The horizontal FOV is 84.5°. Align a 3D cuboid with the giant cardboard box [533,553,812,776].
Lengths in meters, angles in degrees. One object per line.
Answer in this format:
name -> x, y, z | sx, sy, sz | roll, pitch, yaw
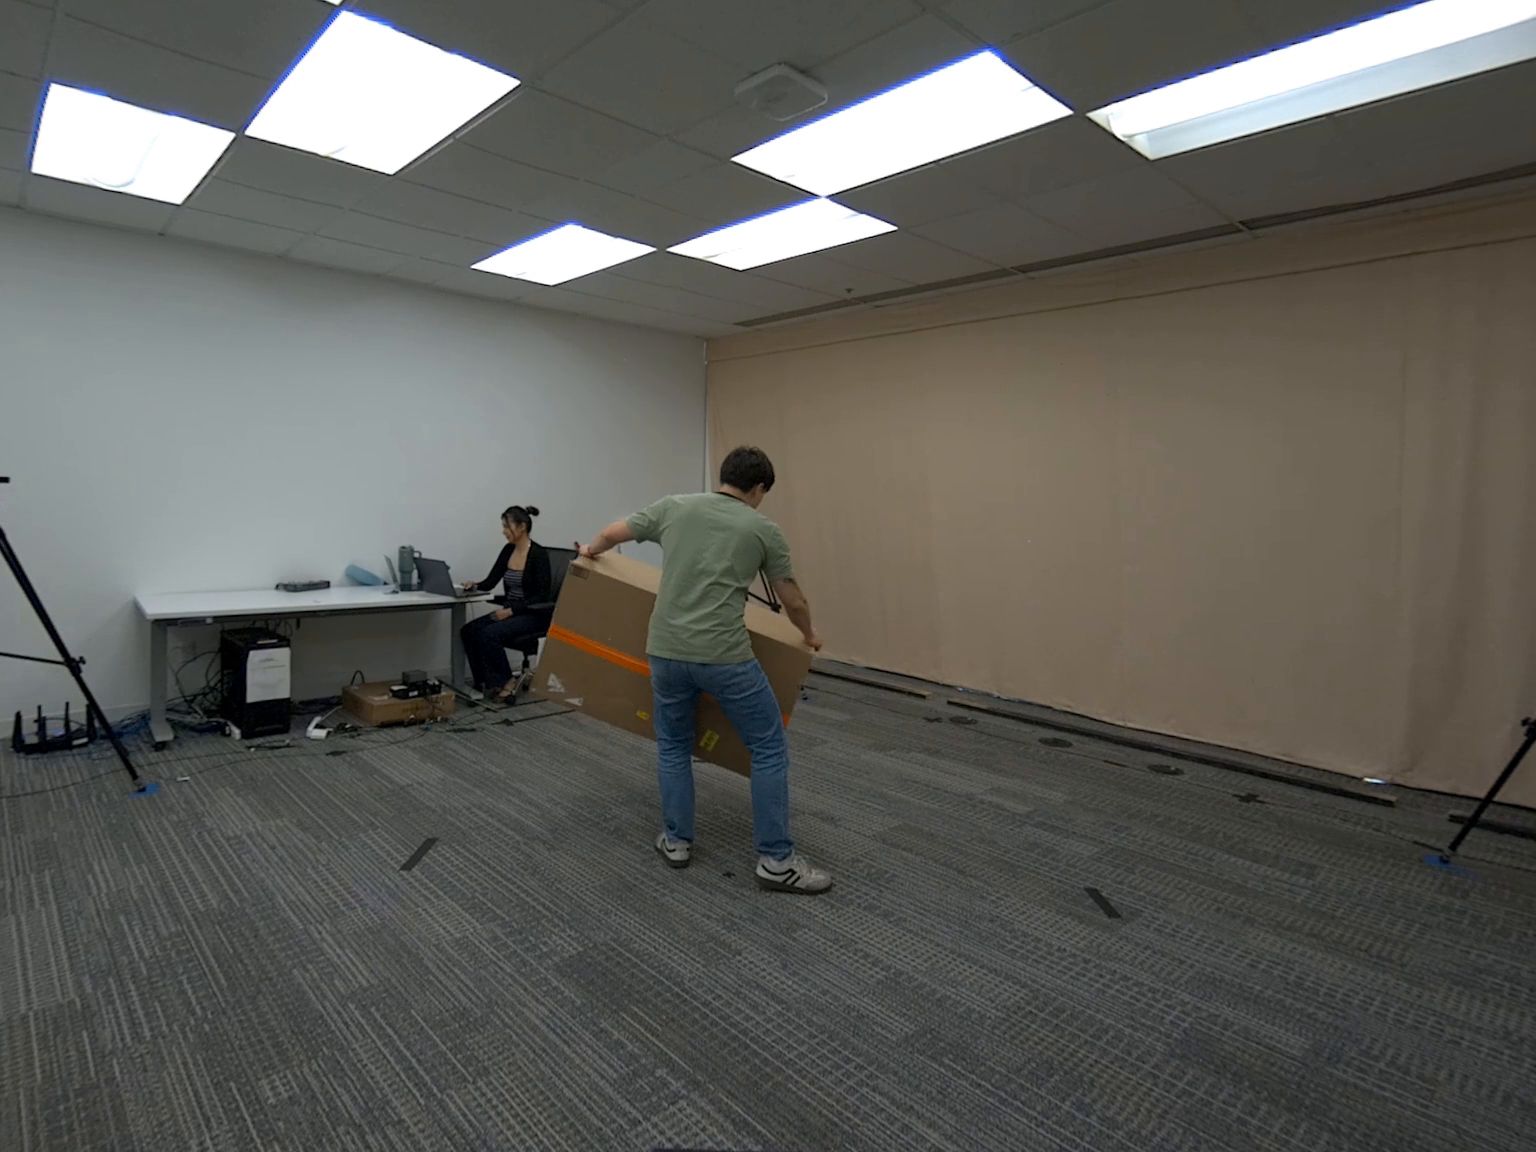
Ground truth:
giant cardboard box -> -0.382, 0.347, 3.532 | 1.028, 0.575, 0.427 | 21, 11, 2
